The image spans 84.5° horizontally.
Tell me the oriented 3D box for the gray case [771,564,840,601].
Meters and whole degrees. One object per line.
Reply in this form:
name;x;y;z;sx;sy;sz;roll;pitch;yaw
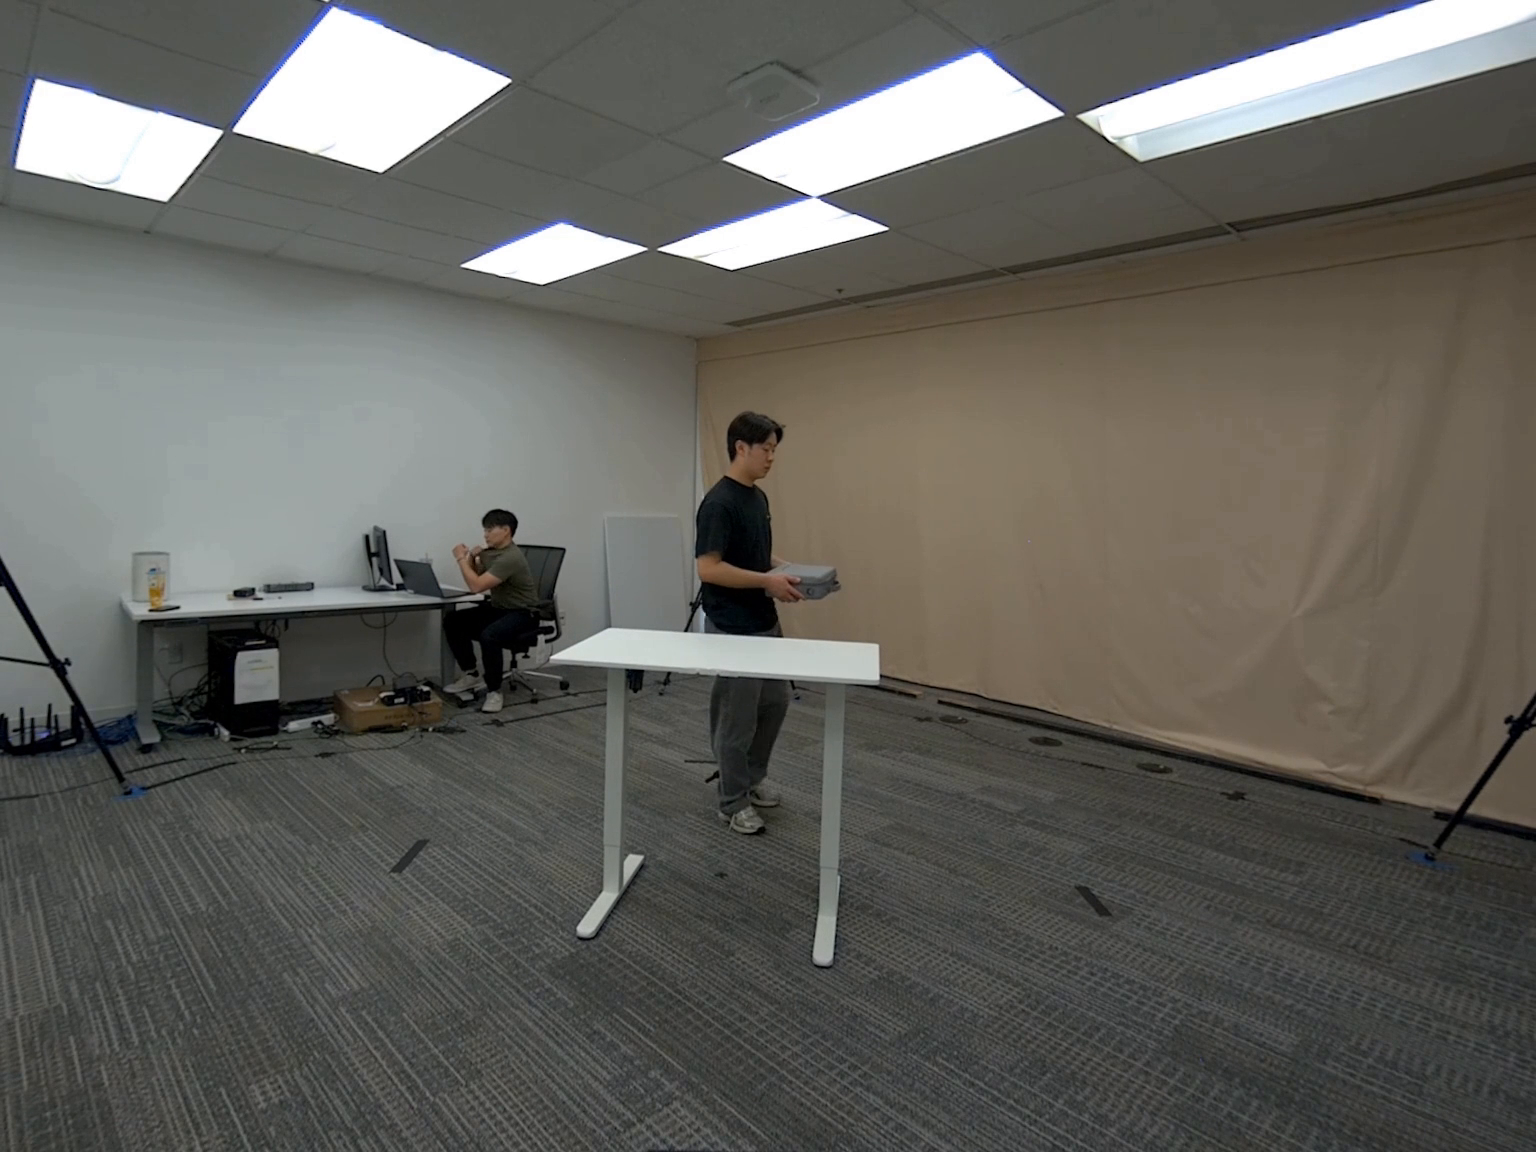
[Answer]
gray case;0.133;0.020;3.489;0.269;0.102;0.283;4;10;27
